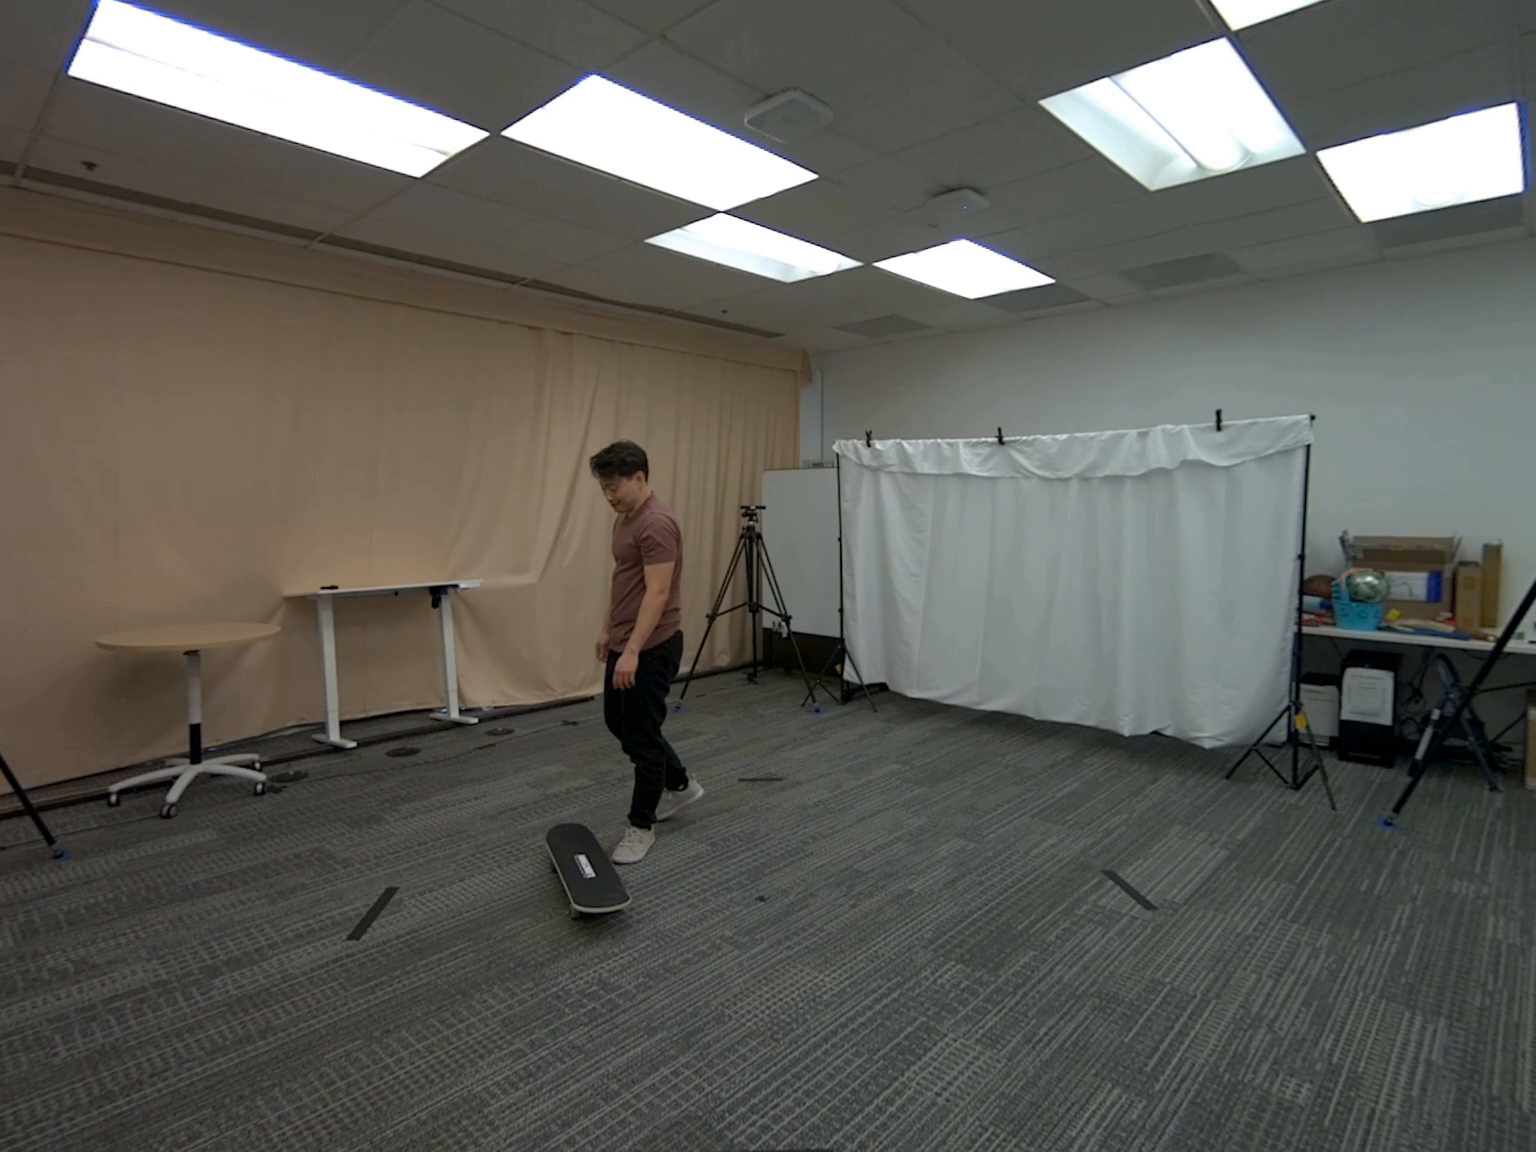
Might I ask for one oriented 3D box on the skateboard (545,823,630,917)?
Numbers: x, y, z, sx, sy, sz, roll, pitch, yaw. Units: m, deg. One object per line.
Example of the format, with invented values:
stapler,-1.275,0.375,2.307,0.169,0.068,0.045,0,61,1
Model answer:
skateboard,-0.668,1.086,3.066,0.189,0.110,0.804,-2,5,-22
